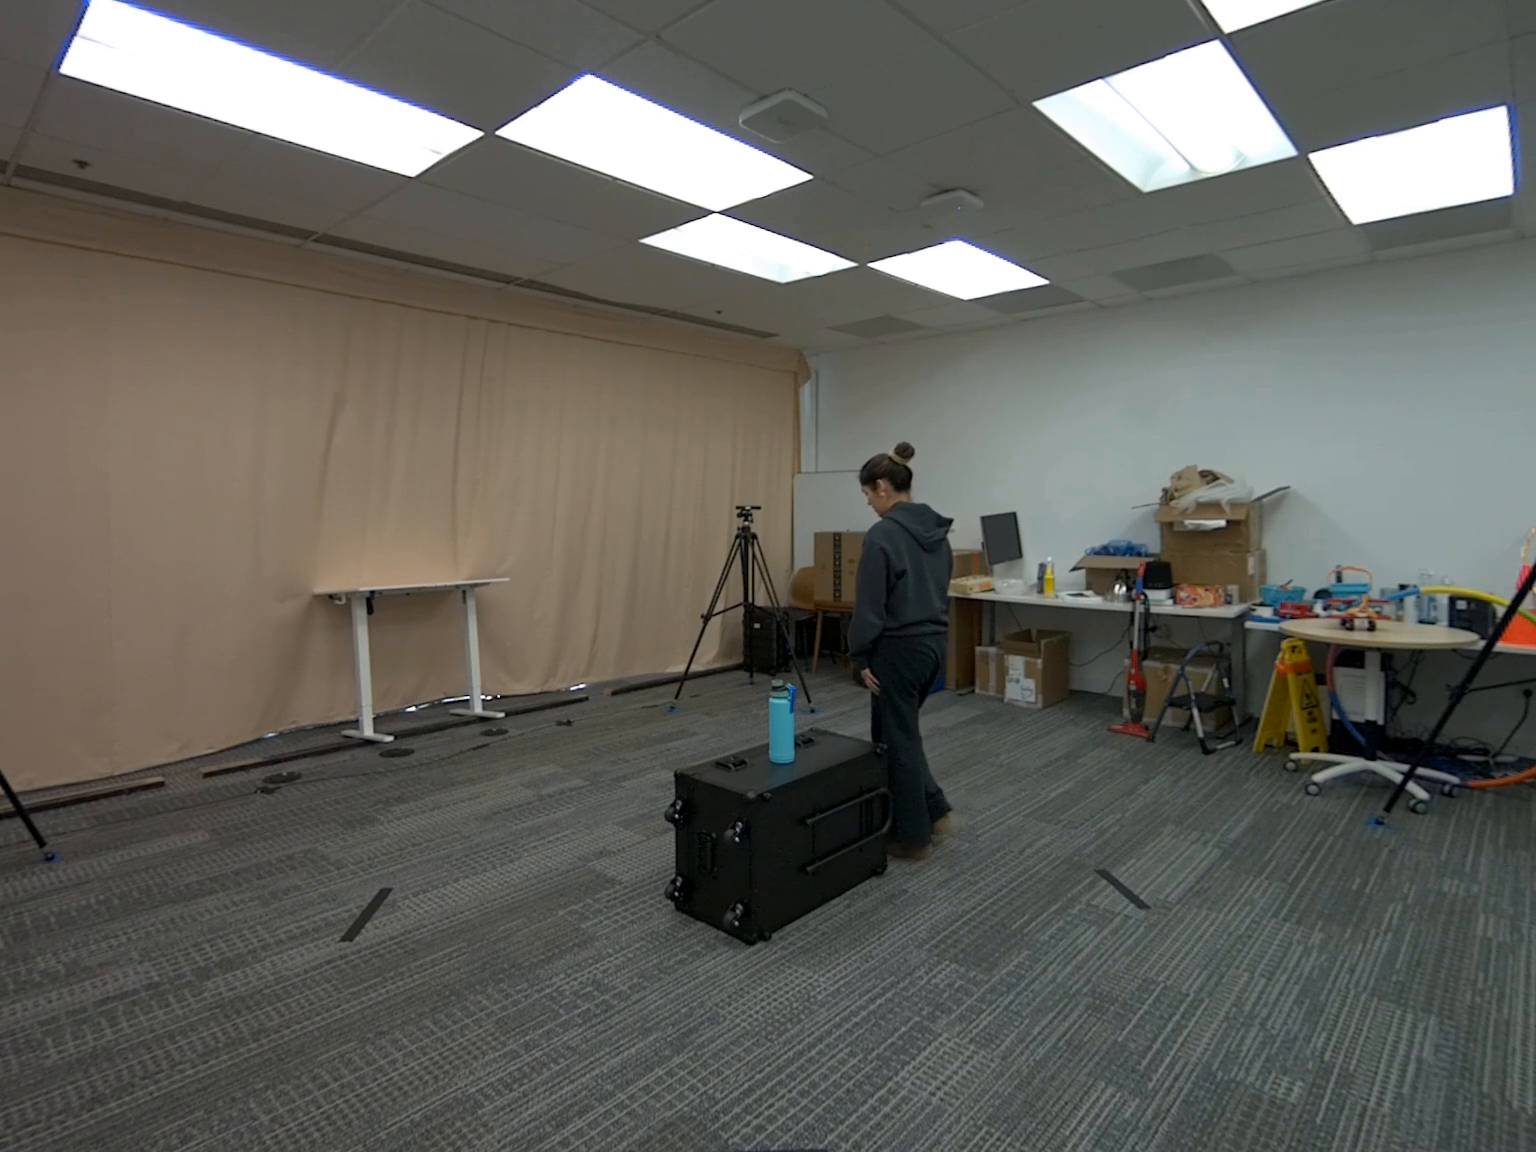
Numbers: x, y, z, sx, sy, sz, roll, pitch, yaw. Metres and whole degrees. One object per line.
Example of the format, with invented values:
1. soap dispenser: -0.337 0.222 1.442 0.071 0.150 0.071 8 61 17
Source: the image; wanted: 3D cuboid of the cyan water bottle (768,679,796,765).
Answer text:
1. cyan water bottle: 0.070 0.516 3.011 0.092 0.283 0.092 1 3 -2
